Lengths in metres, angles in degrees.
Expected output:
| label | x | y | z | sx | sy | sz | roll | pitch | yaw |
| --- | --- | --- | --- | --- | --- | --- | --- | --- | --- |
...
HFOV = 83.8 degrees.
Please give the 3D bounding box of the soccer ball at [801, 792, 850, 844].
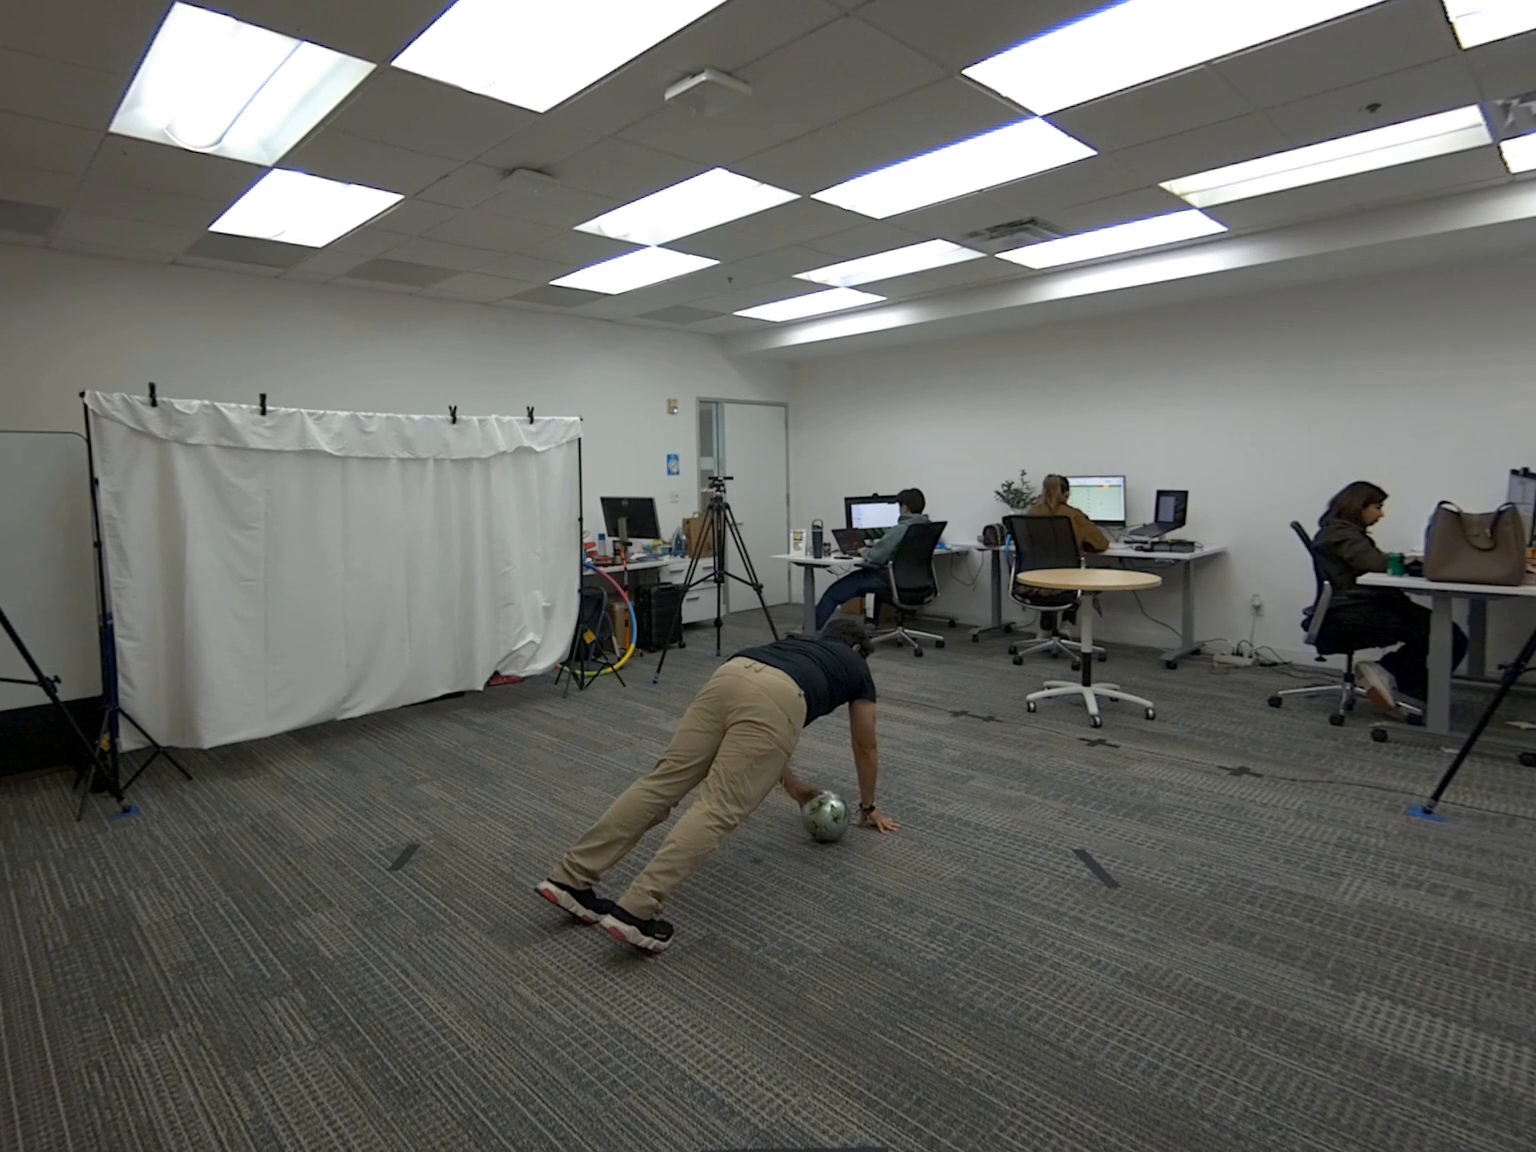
| label | x | y | z | sx | sy | sz | roll | pitch | yaw |
| --- | --- | --- | --- | --- | --- | --- | --- | --- | --- |
| soccer ball | 0.220 | 0.918 | 3.285 | 0.187 | 0.187 | 0.188 | -1 | 5 | -2 |
